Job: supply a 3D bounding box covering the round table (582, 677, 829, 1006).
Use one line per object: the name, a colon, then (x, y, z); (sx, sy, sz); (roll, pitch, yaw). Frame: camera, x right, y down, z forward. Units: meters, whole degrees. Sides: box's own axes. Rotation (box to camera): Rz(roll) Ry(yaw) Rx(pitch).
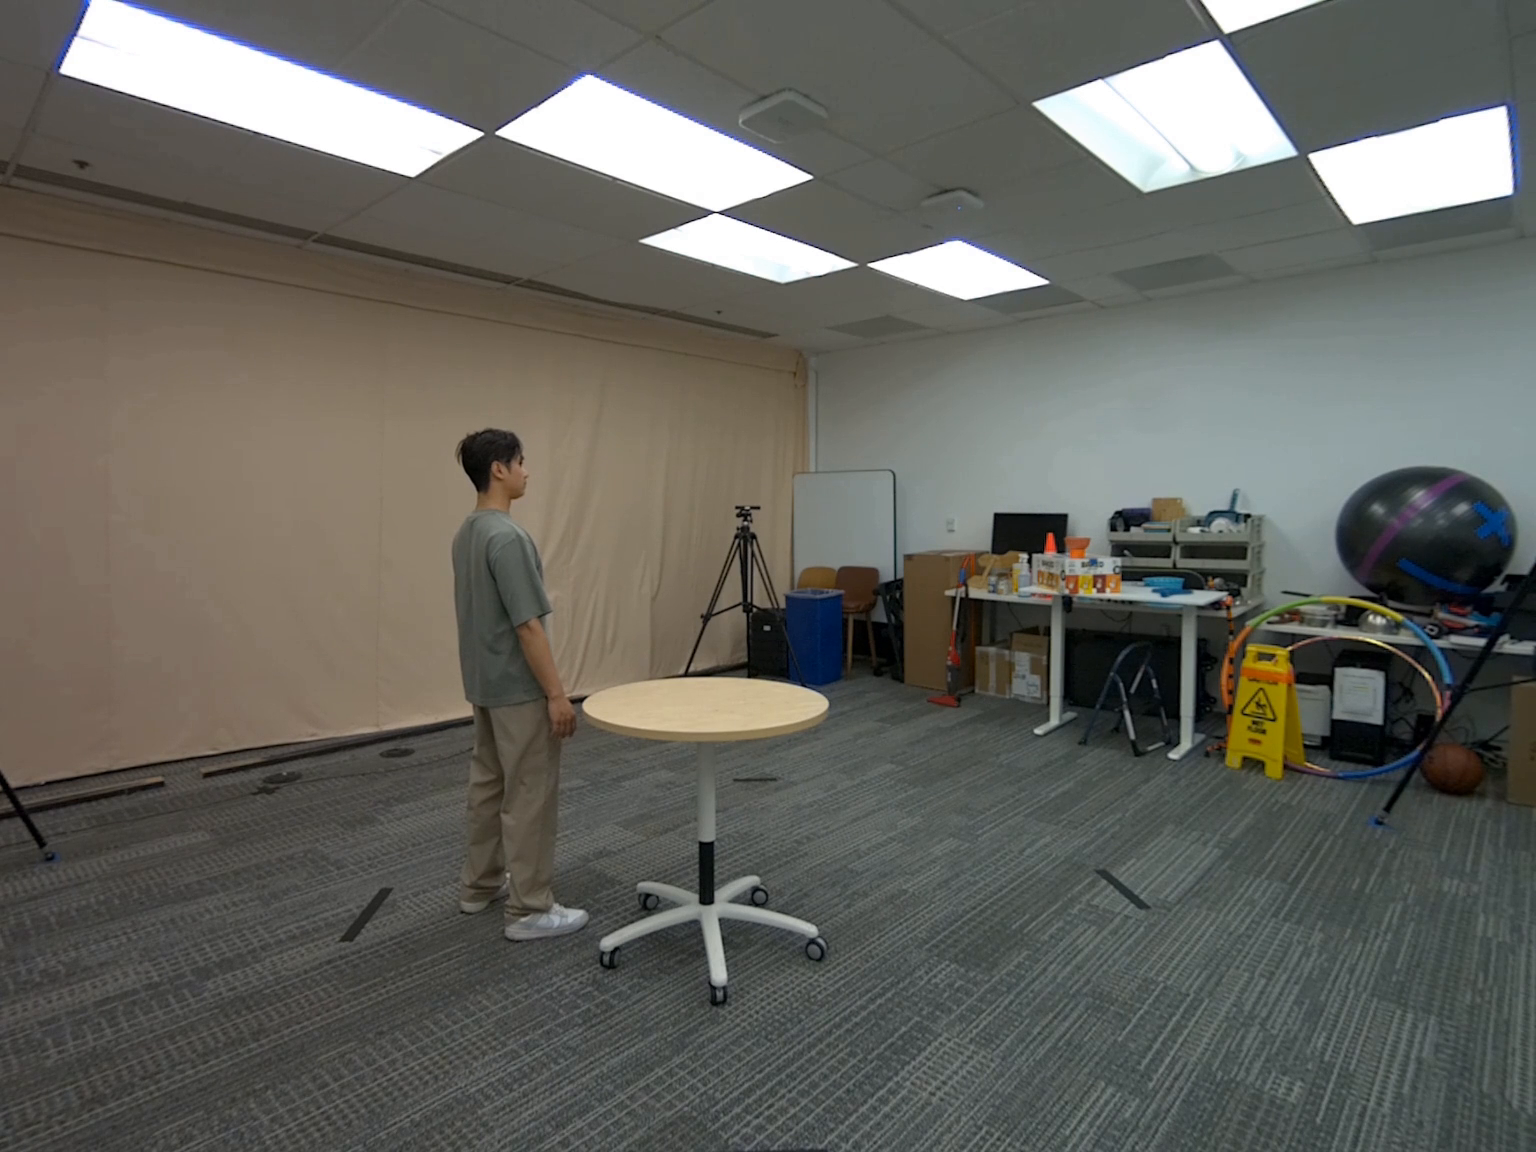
round table: (-0.189, 0.788, 2.641); (0.763, 0.792, 0.767); (0, 4, -2)
